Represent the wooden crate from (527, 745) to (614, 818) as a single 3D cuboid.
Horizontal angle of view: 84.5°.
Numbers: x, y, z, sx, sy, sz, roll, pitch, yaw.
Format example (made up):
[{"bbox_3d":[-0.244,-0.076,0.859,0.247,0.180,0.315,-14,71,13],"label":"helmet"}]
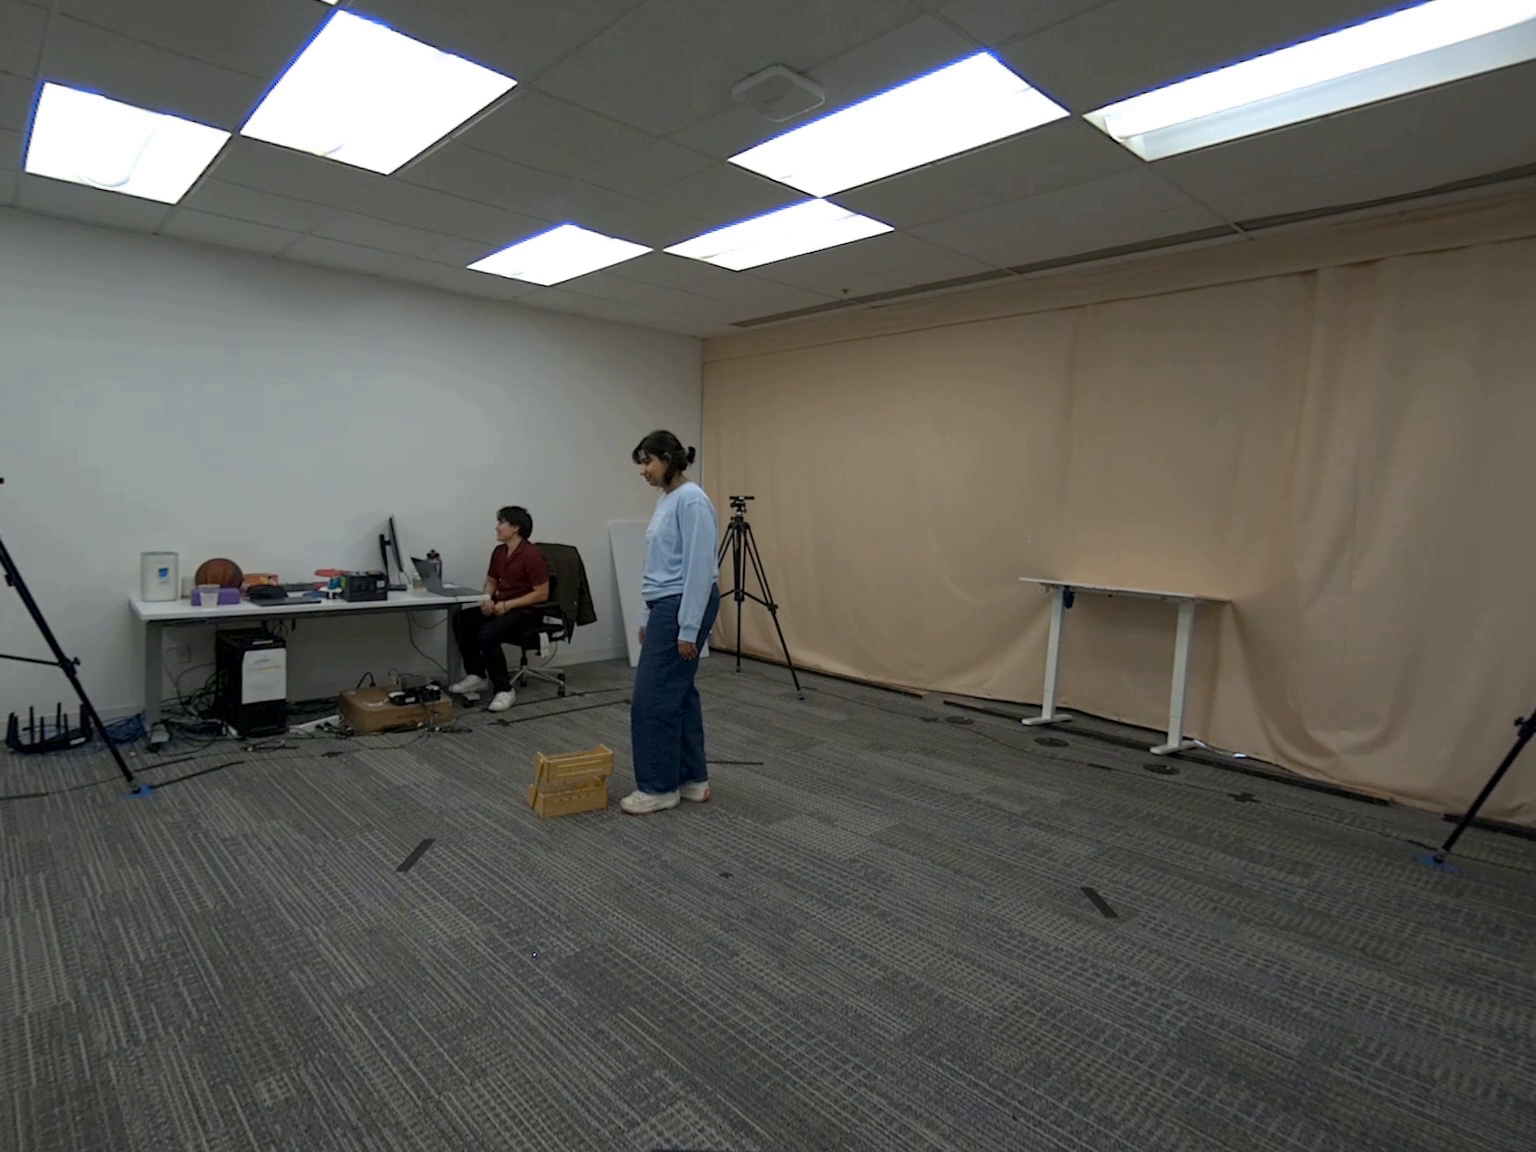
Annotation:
[{"bbox_3d":[-0.904,0.897,3.769,0.317,0.272,0.309,-1,5,-32],"label":"wooden crate"}]
